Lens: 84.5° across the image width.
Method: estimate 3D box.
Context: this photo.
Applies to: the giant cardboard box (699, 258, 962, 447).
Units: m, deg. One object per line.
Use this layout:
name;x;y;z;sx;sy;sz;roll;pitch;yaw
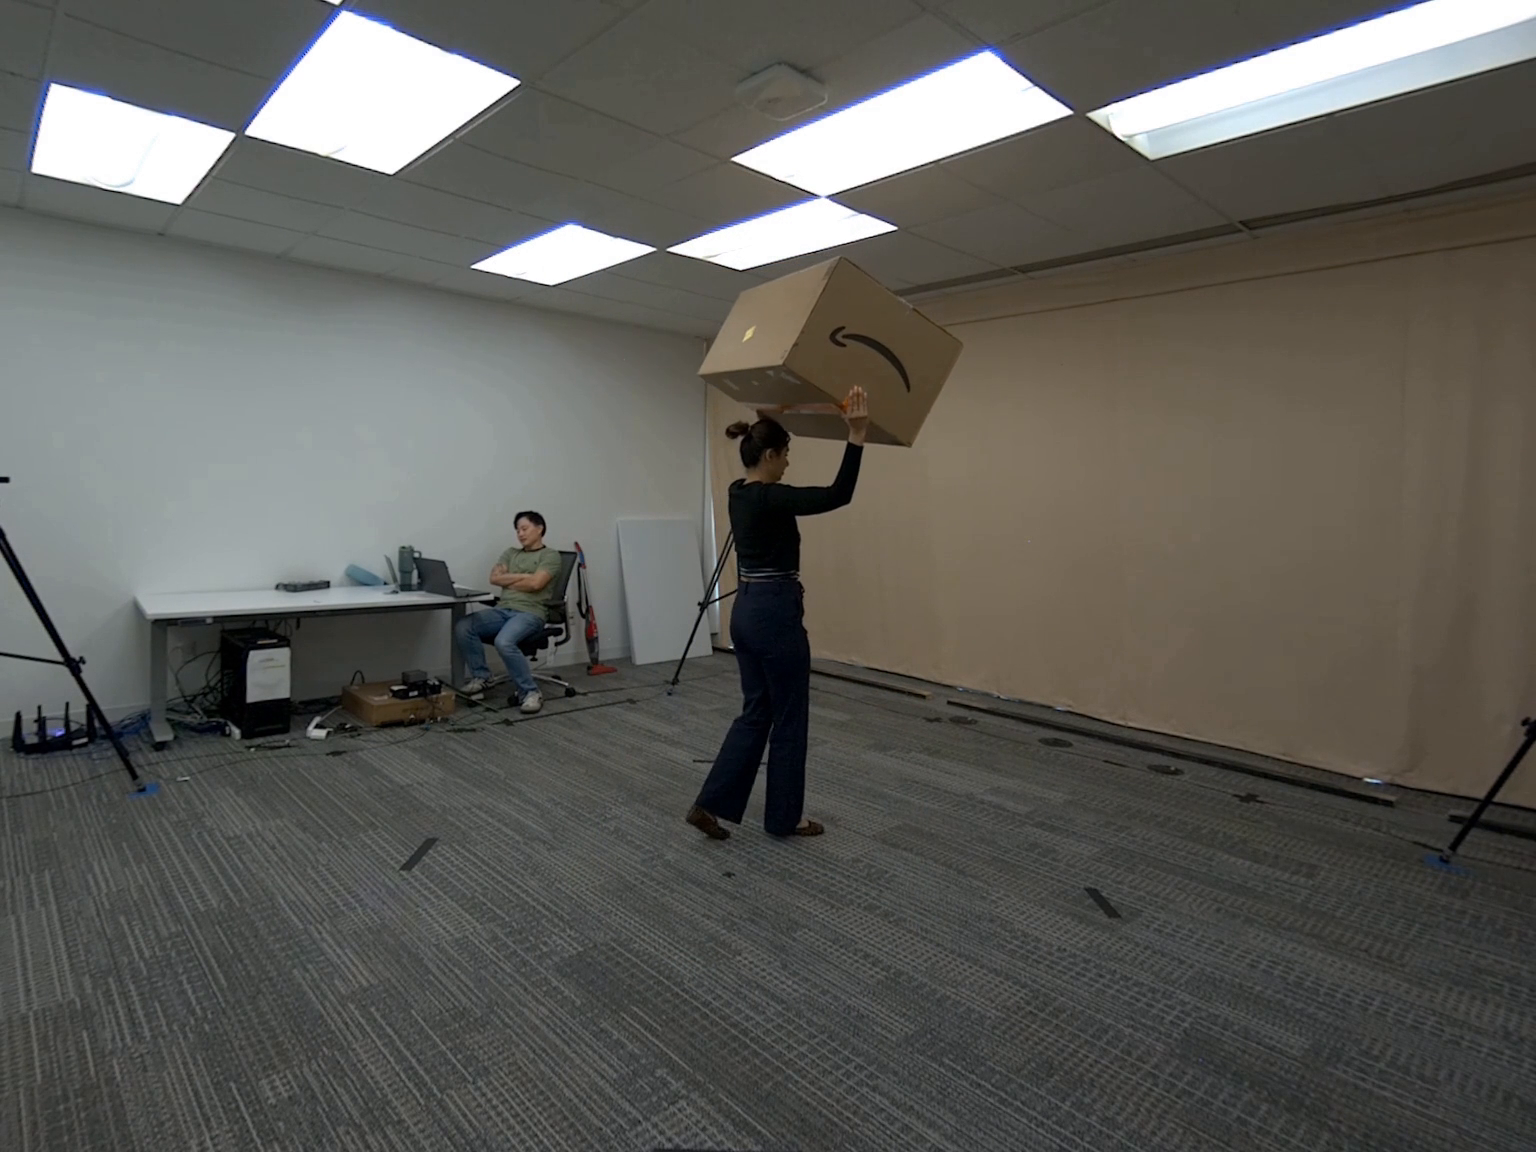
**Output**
giant cardboard box;0.183;-0.859;3.389;0.565;0.426;1.048;28;0;-23
